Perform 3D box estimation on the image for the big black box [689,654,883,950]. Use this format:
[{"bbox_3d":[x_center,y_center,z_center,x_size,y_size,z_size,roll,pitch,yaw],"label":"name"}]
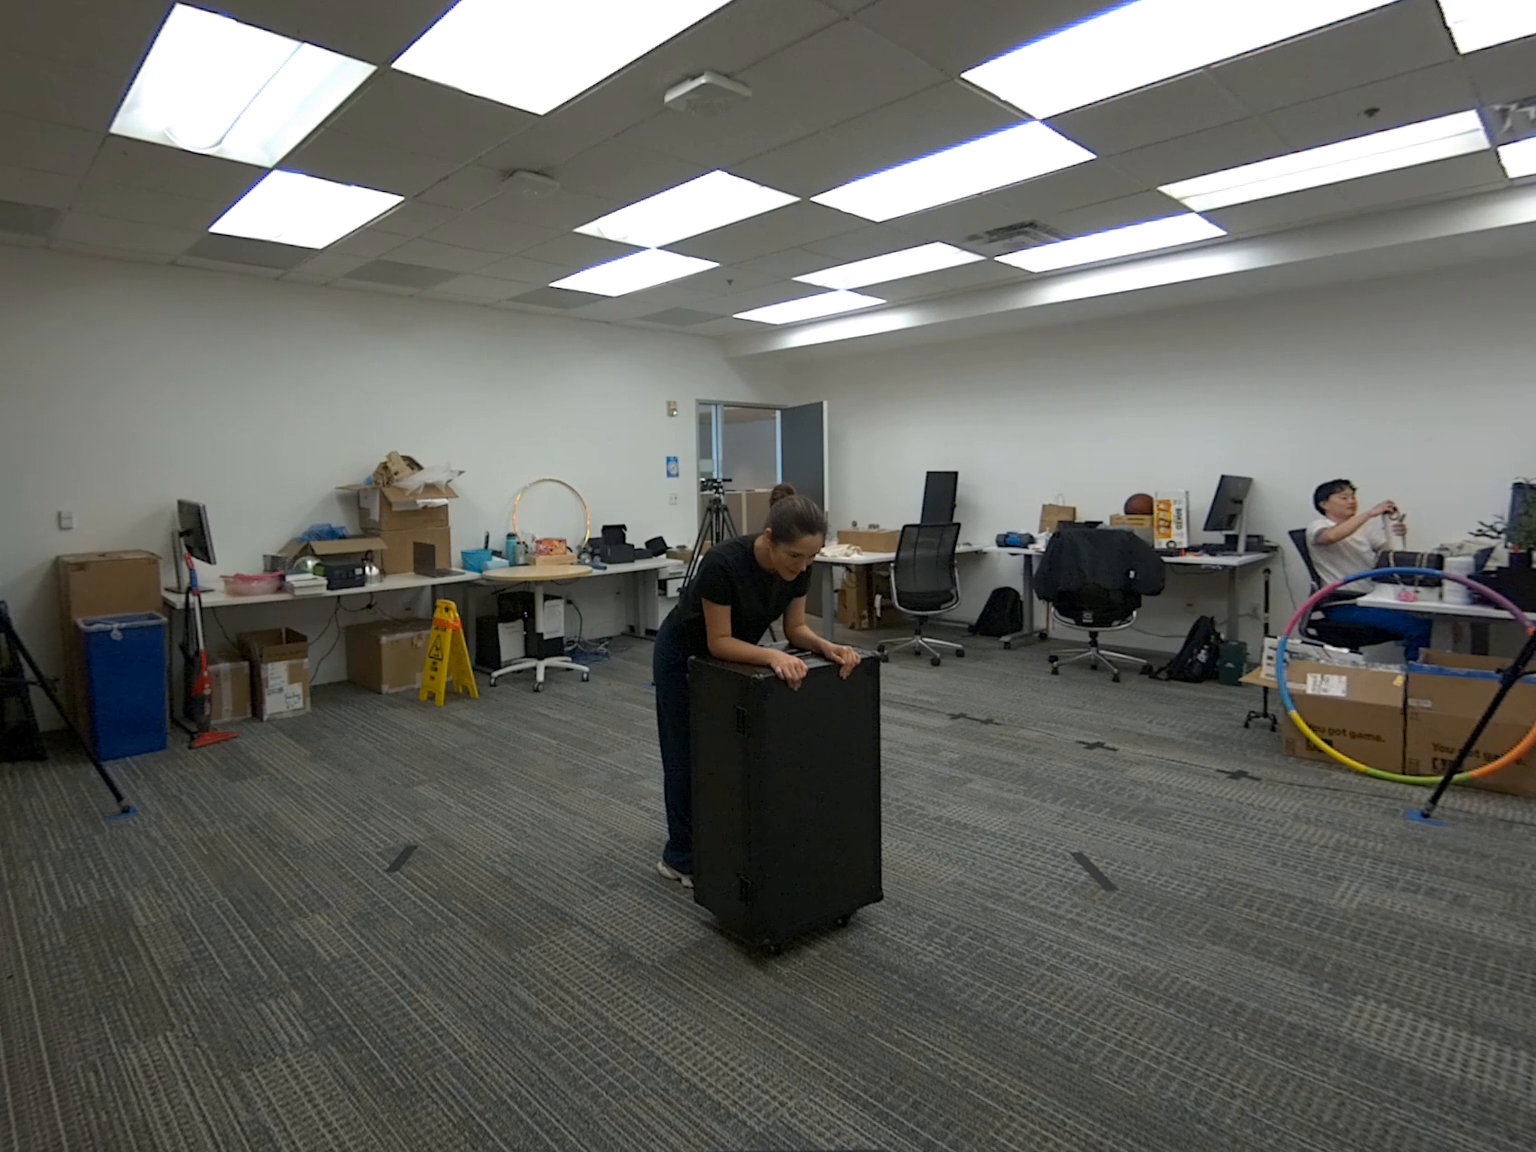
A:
[{"bbox_3d":[0.053,0.611,2.678,0.508,0.858,0.408,-5,6,-36],"label":"big black box"}]
